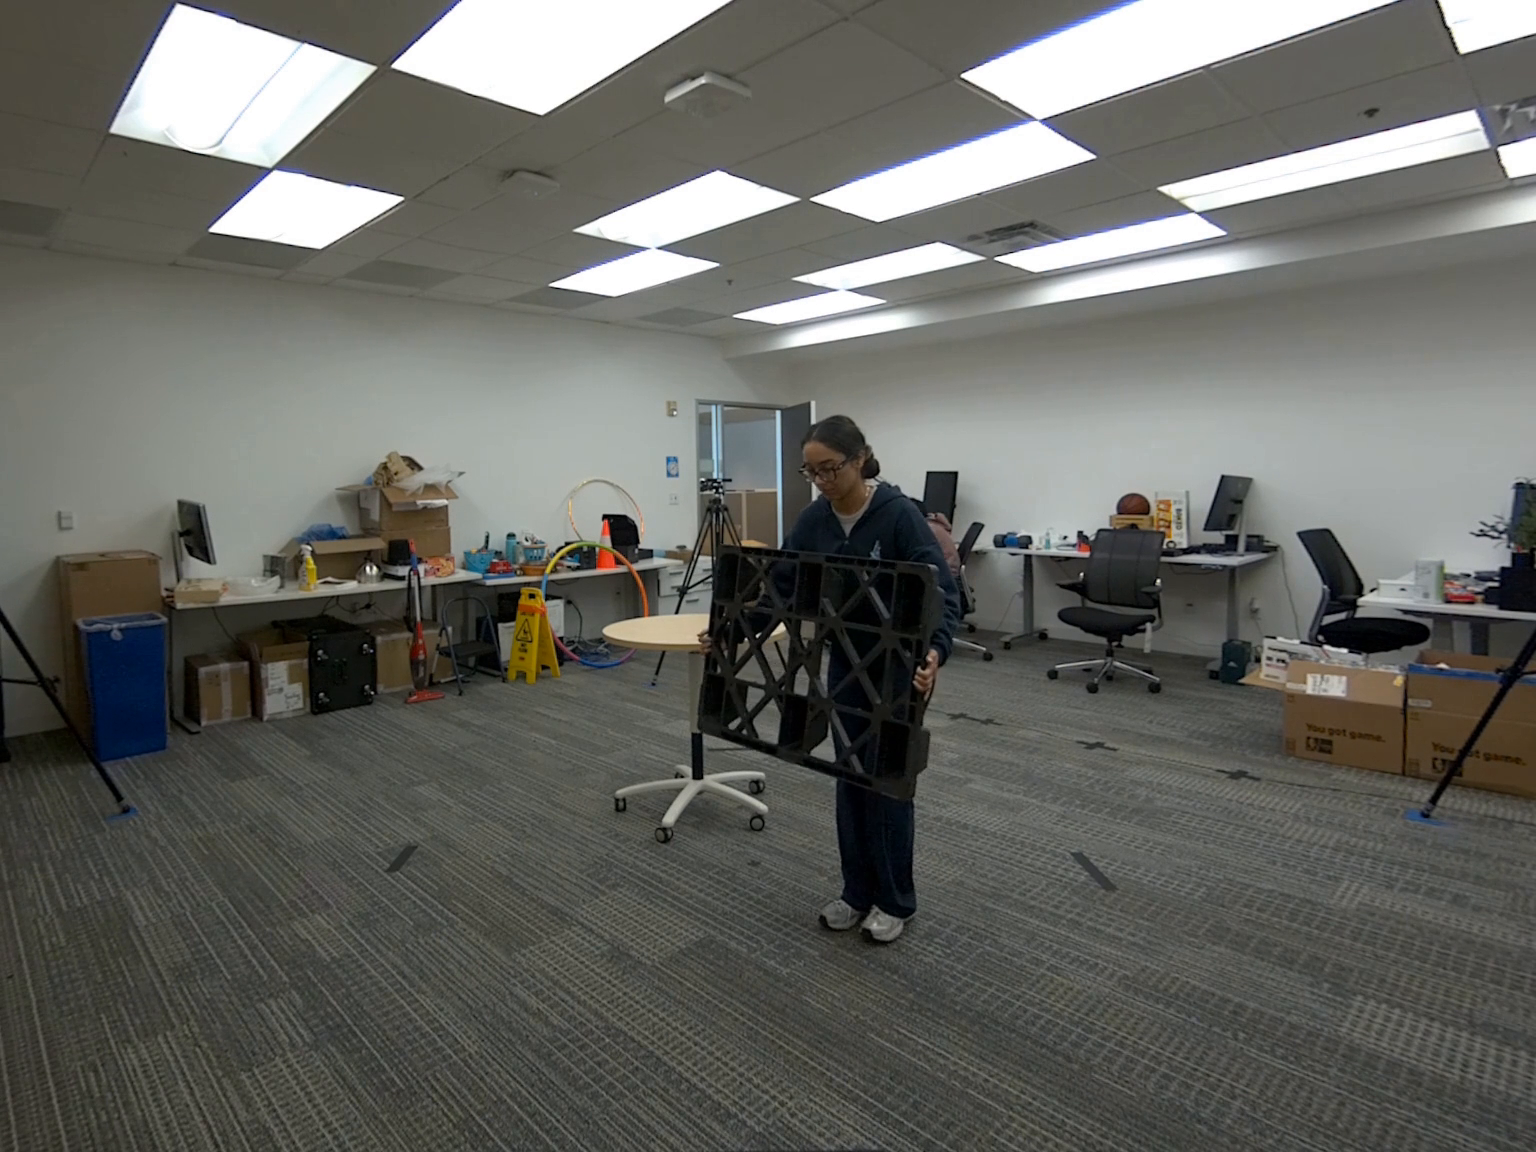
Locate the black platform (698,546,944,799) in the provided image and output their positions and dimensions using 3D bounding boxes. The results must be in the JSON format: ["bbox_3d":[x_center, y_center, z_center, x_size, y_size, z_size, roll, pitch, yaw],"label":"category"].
[{"bbox_3d":[0.139,0.234,2.479,0.831,0.606,0.139,7,-2,45],"label":"black platform"}]
